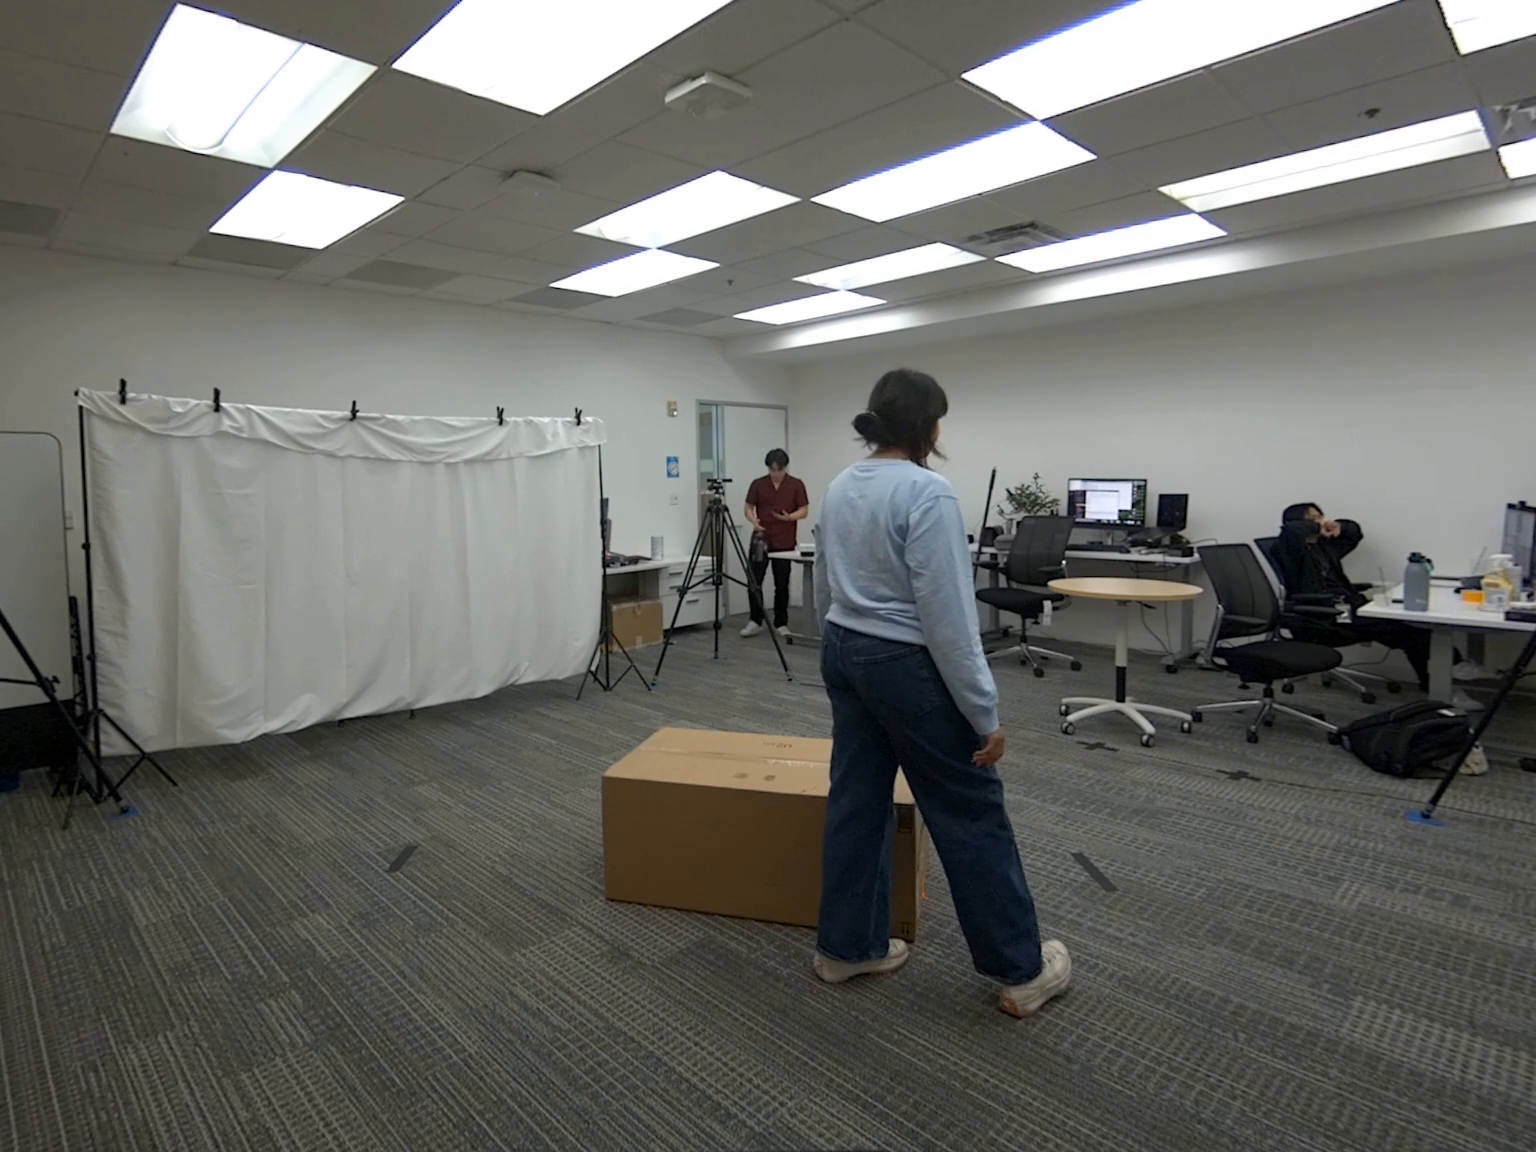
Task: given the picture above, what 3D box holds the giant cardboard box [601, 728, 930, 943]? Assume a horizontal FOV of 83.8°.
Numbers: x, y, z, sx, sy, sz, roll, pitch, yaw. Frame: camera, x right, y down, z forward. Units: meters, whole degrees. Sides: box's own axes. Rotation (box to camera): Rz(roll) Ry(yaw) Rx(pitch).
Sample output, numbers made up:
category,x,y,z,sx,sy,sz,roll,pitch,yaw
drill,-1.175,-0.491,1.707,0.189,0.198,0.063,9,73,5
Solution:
category,x,y,z,sx,sy,sz,roll,pitch,yaw
giant cardboard box,0.011,0.844,2.969,1.043,0.424,0.571,1,6,17
